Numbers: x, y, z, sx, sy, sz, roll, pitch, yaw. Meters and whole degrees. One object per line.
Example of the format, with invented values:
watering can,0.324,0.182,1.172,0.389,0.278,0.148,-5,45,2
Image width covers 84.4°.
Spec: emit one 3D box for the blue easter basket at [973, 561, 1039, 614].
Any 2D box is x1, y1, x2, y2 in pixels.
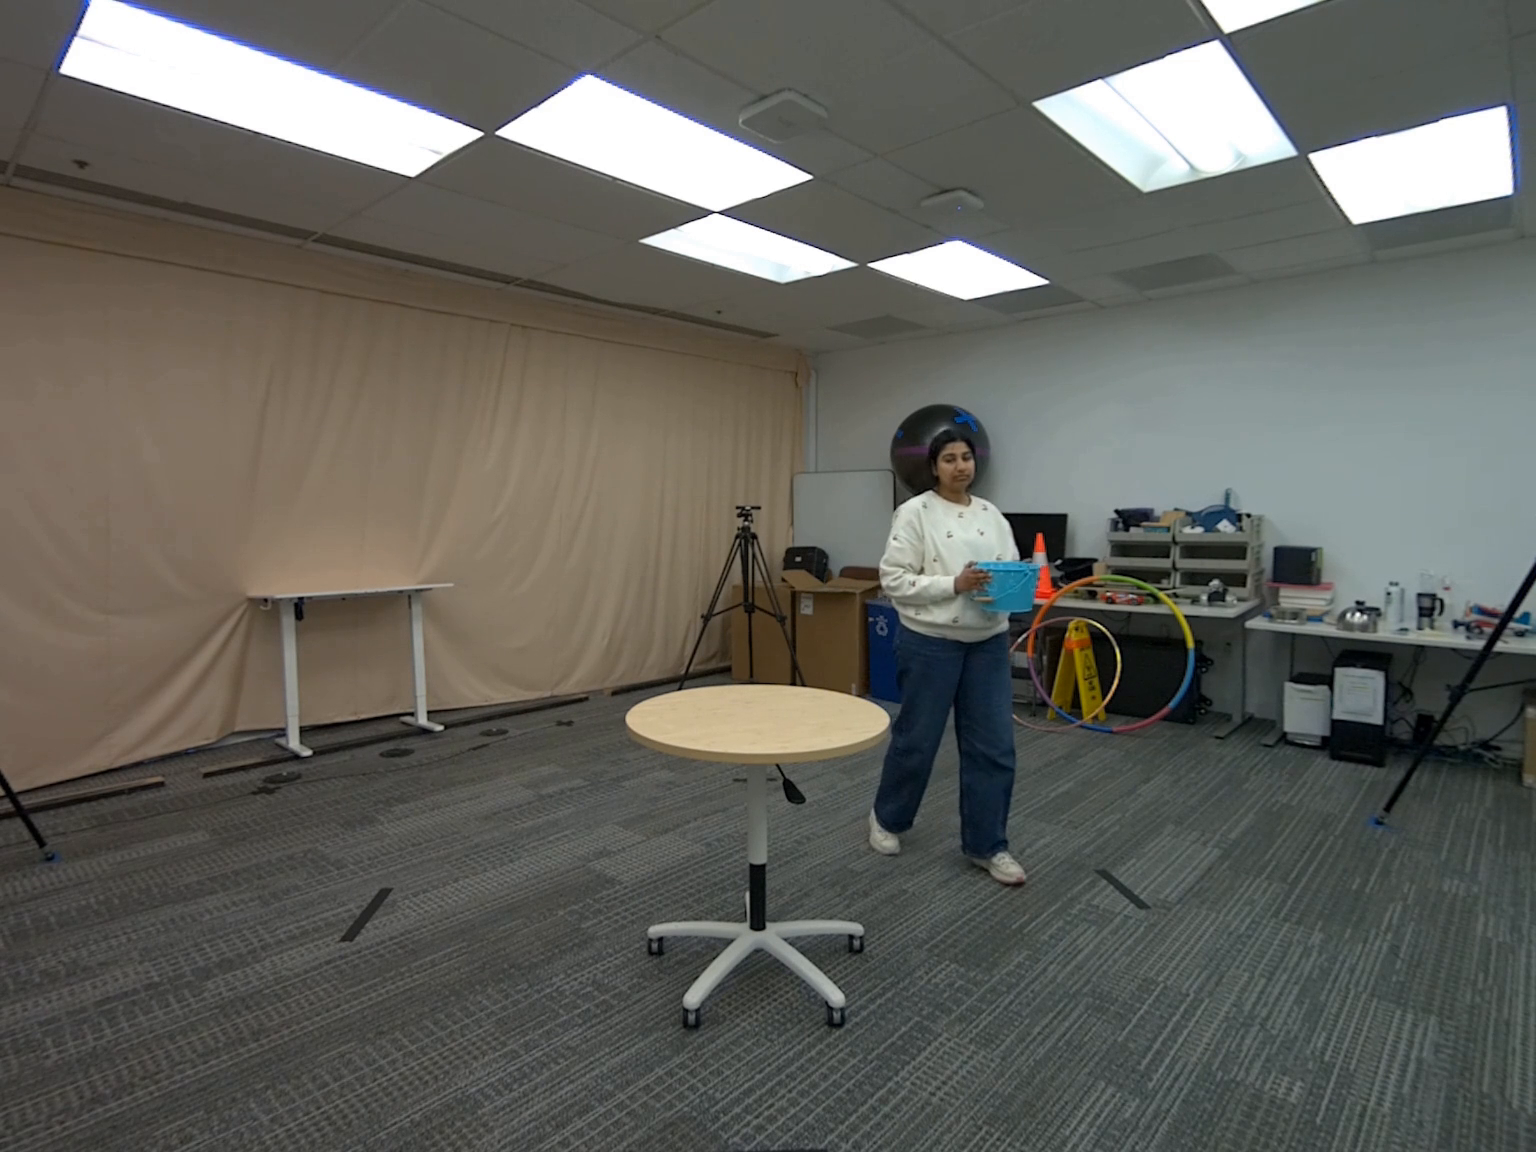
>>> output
blue easter basket,0.827,0.044,3.004,0.243,0.155,0.245,0,7,-2
